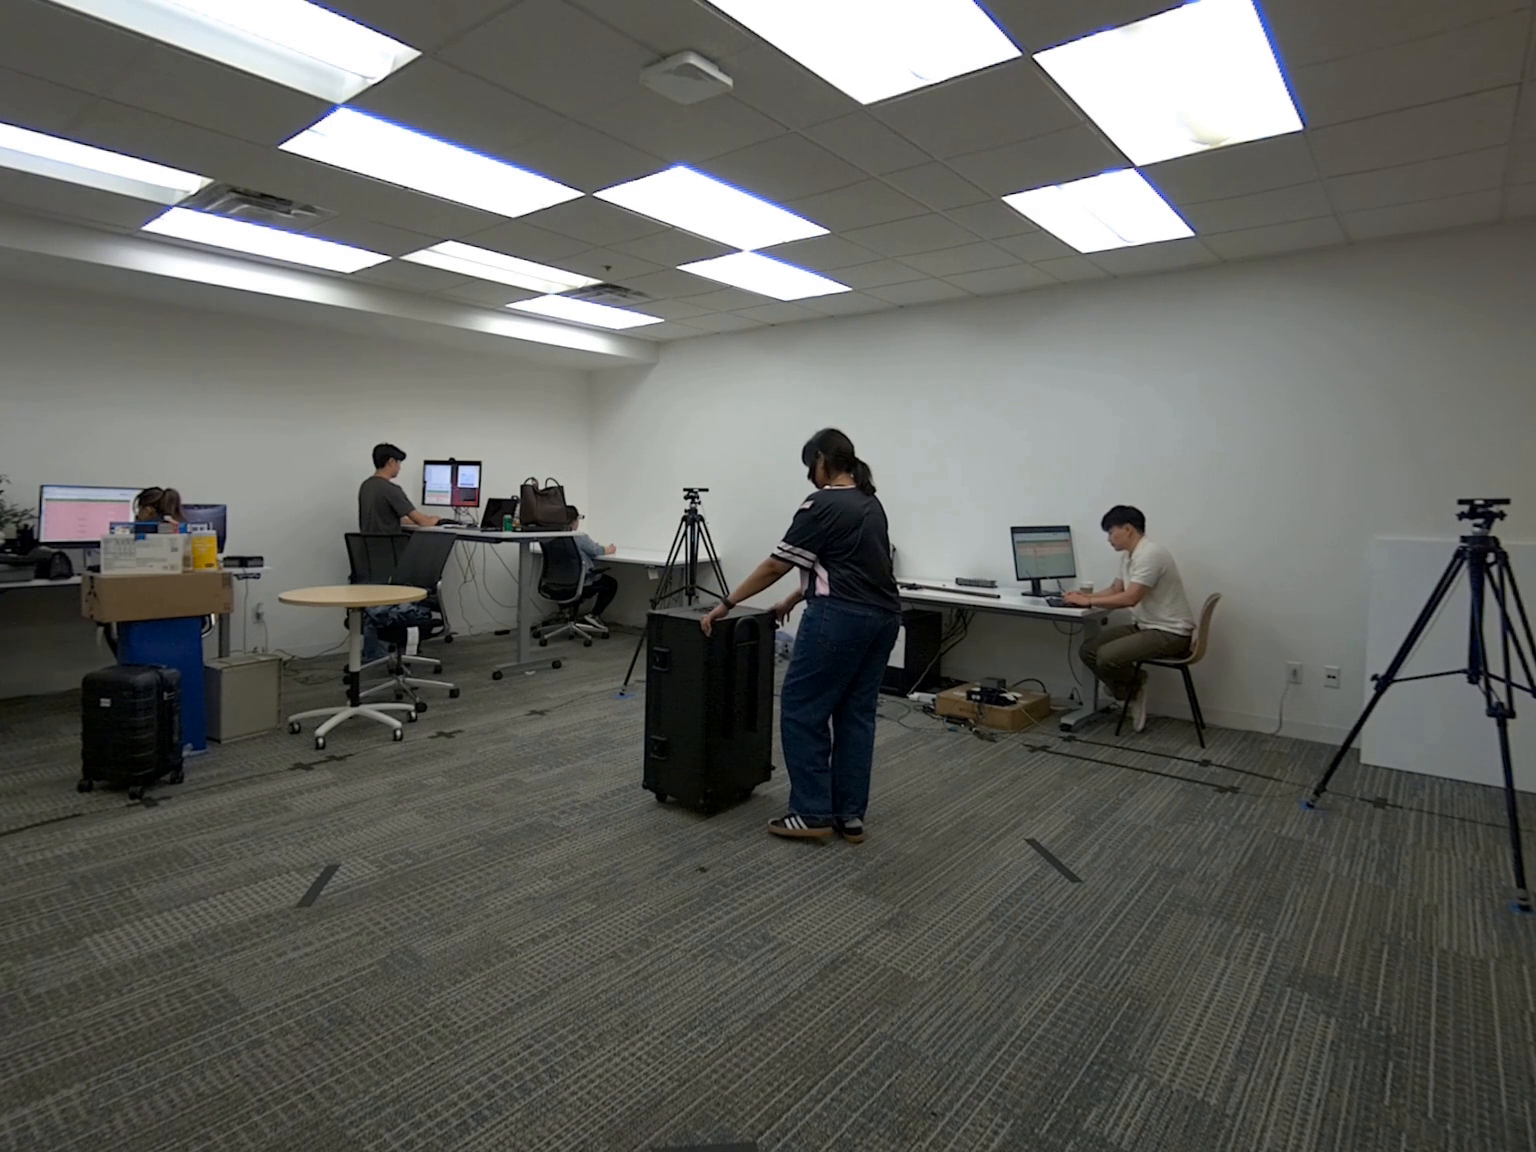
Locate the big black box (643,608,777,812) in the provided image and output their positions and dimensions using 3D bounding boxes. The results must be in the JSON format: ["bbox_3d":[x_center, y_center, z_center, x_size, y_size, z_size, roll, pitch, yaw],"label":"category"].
[{"bbox_3d":[-0.263,0.581,3.801,0.398,0.865,0.508,5,5,36],"label":"big black box"}]
